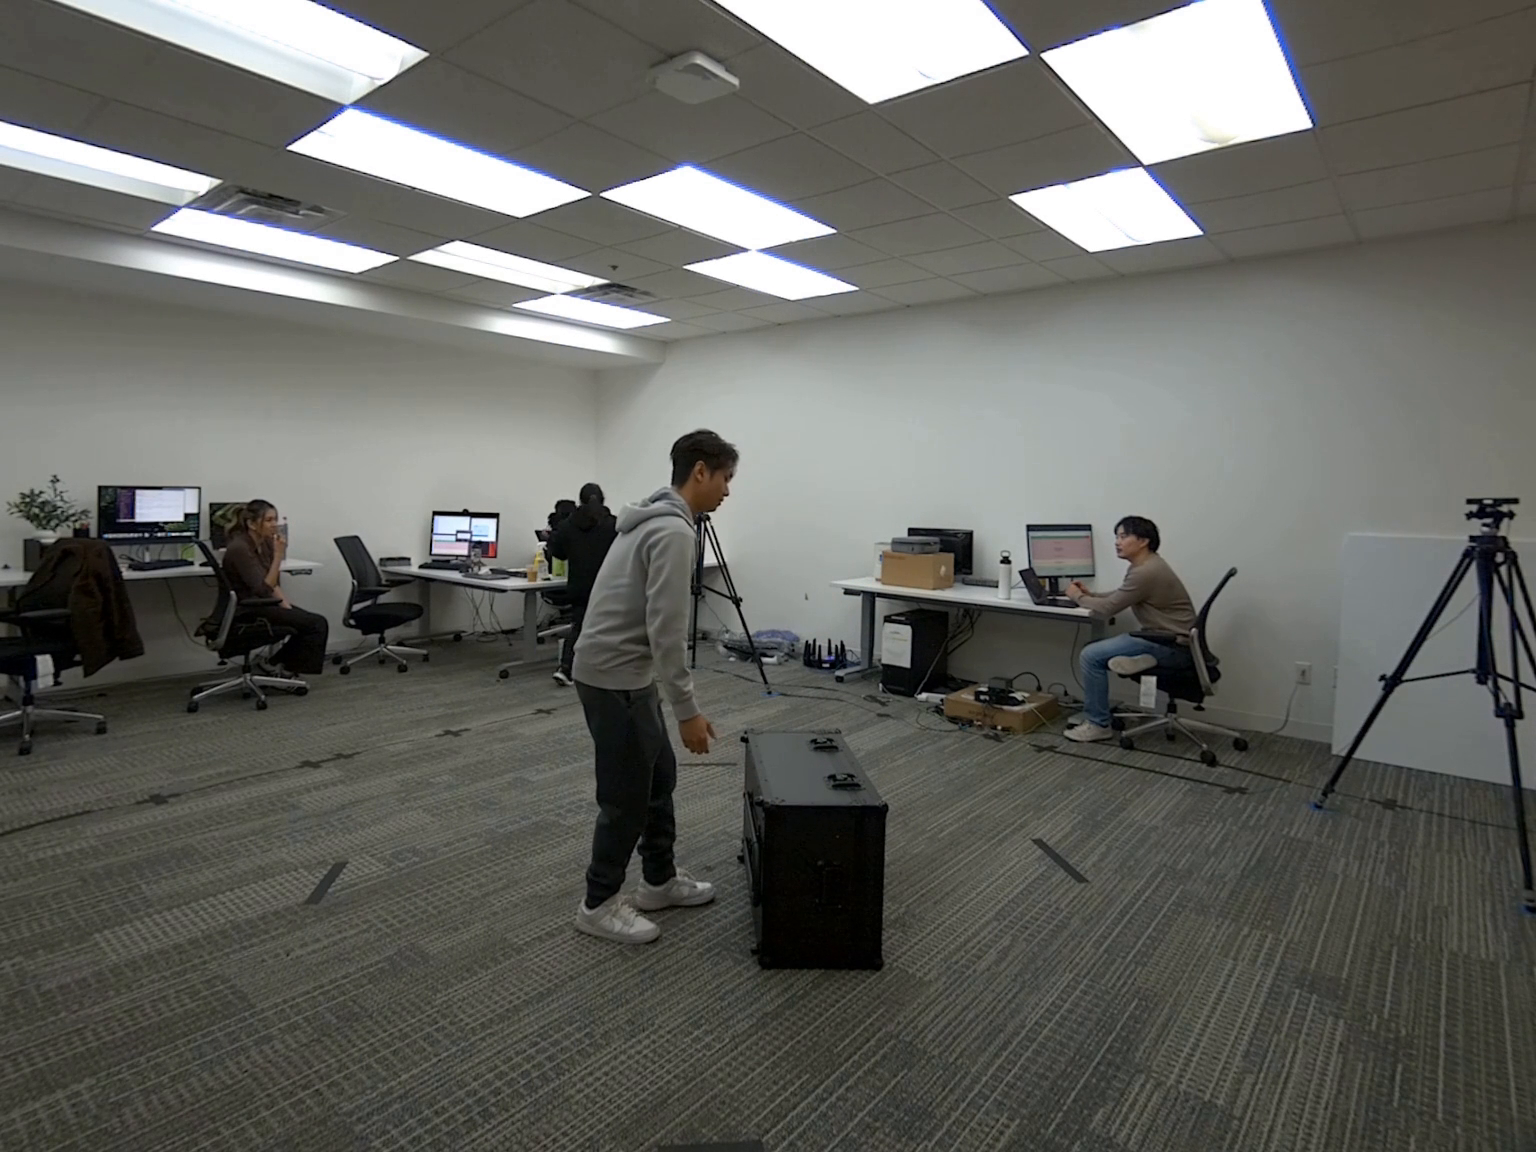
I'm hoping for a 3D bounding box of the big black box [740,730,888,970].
[{"bbox_3d":[0.100,0.851,2.872,0.395,0.519,0.867,0,5,-4],"label":"big black box"}]
